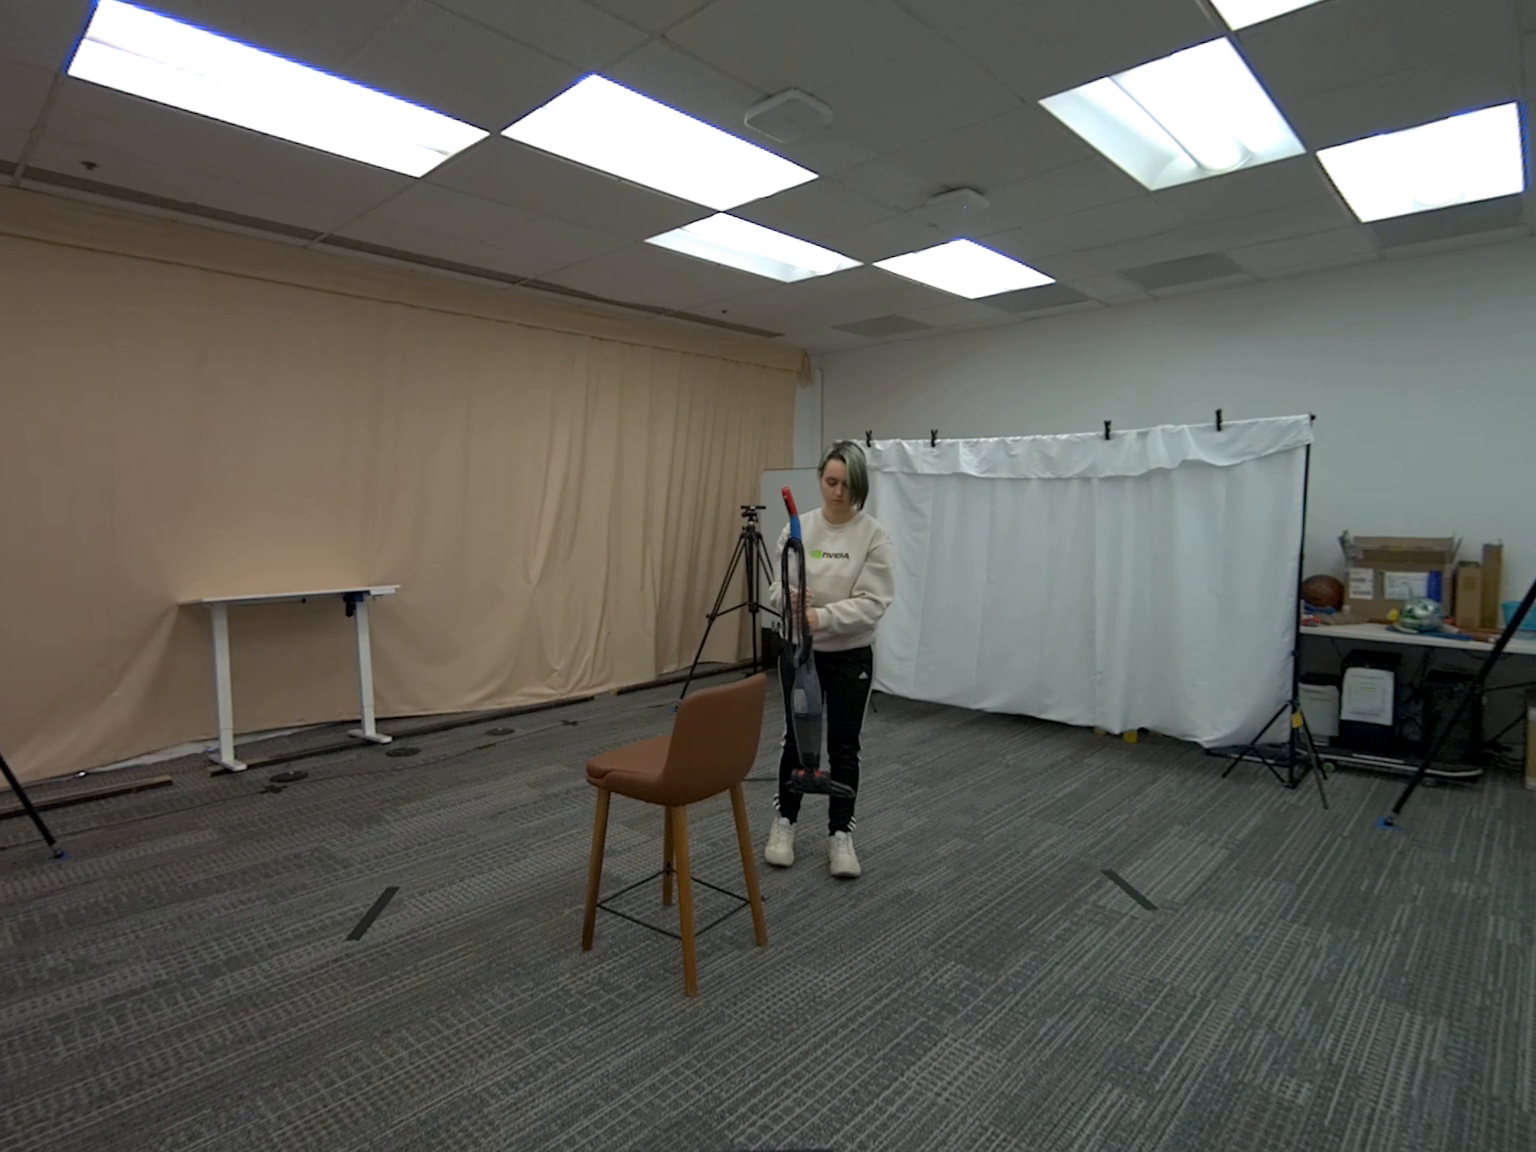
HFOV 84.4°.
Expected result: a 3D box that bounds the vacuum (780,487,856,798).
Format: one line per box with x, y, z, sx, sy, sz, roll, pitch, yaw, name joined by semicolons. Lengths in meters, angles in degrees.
0.116;0.226;2.958;0.257;1.046;0.142;-4;4;19;vacuum
